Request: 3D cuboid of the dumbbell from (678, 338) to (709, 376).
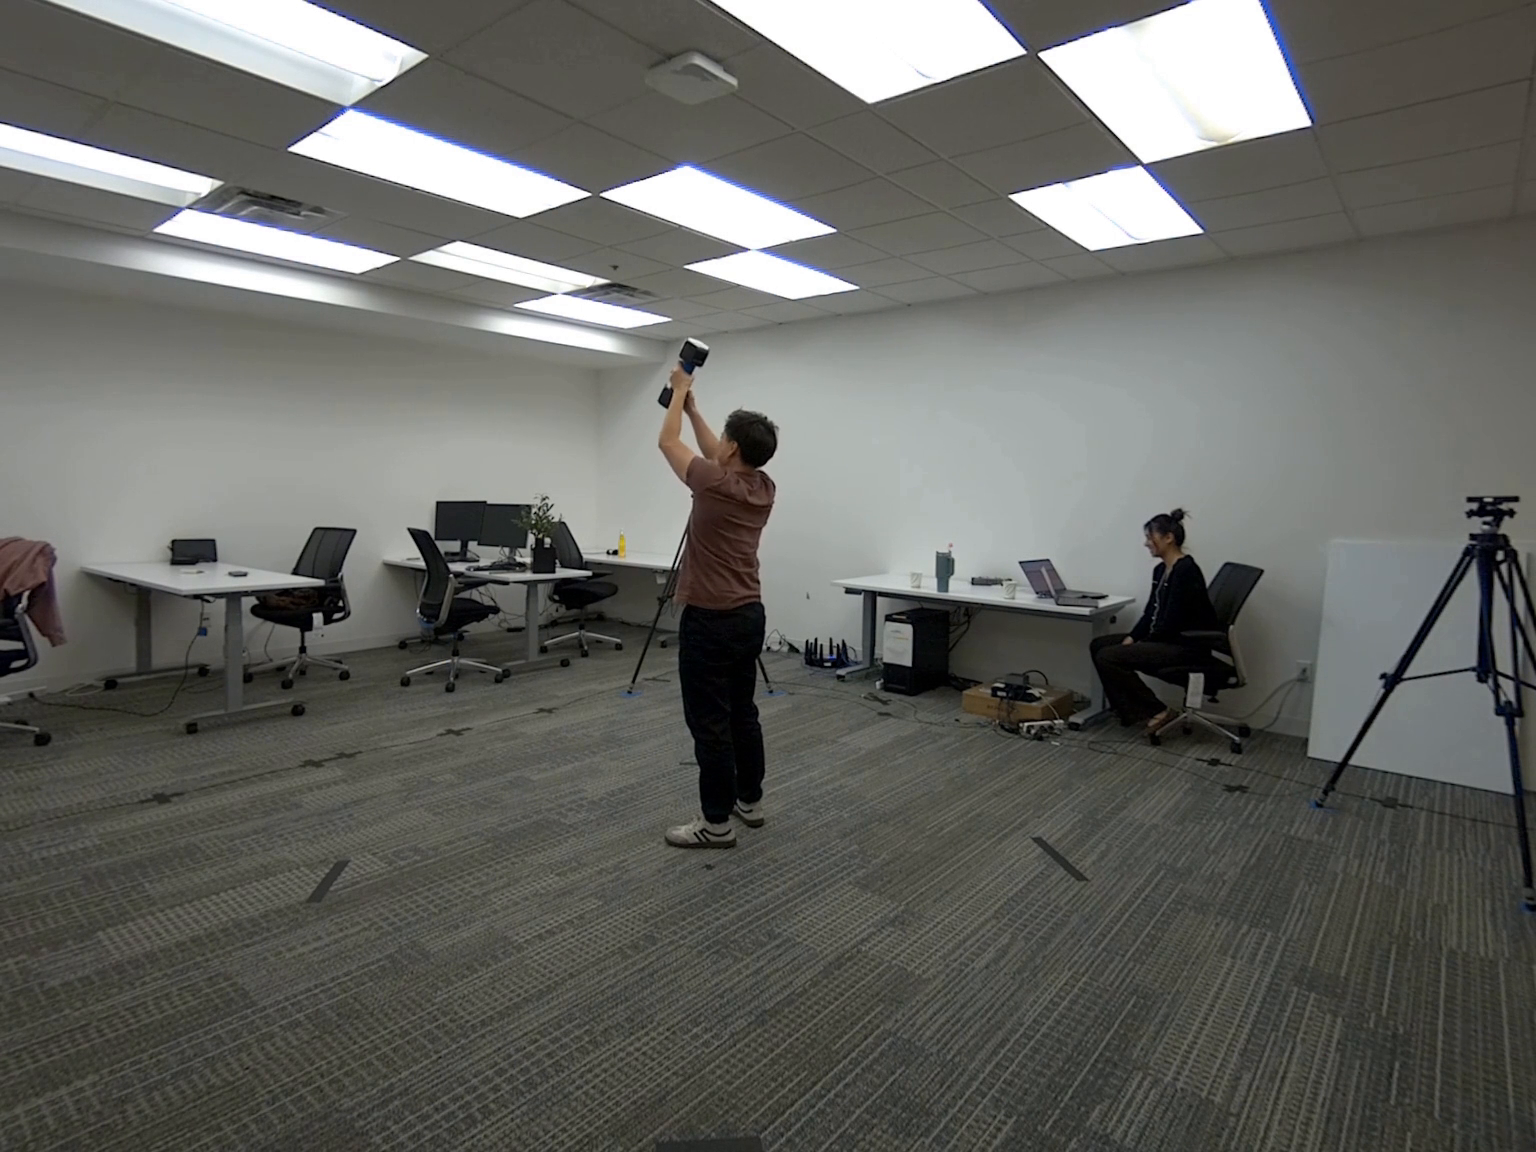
[{"bbox_3d":[-0.360,-0.818,3.484,0.126,0.291,0.107,36,24,17],"label":"dumbbell"}]
